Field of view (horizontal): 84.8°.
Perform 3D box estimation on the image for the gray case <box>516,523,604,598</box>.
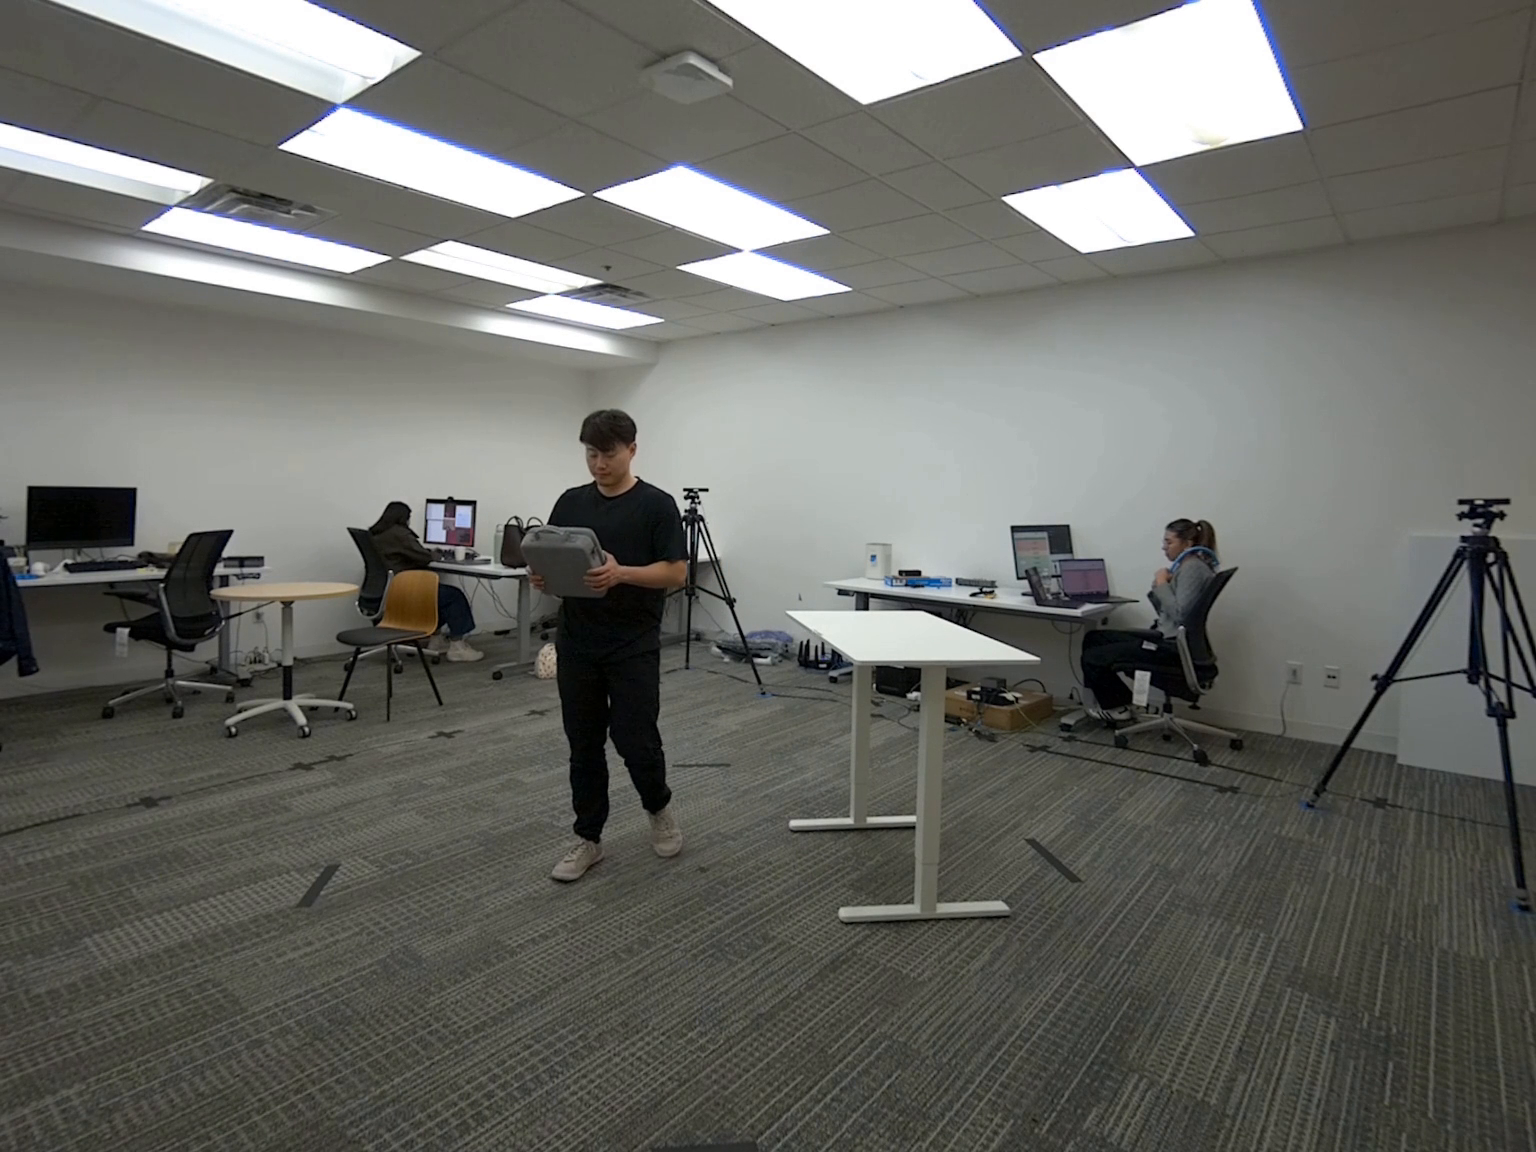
[{"bbox_3d":[-0.675,-0.053,2.865,0.263,0.251,0.106,1,46,22],"label":"gray case"}]
